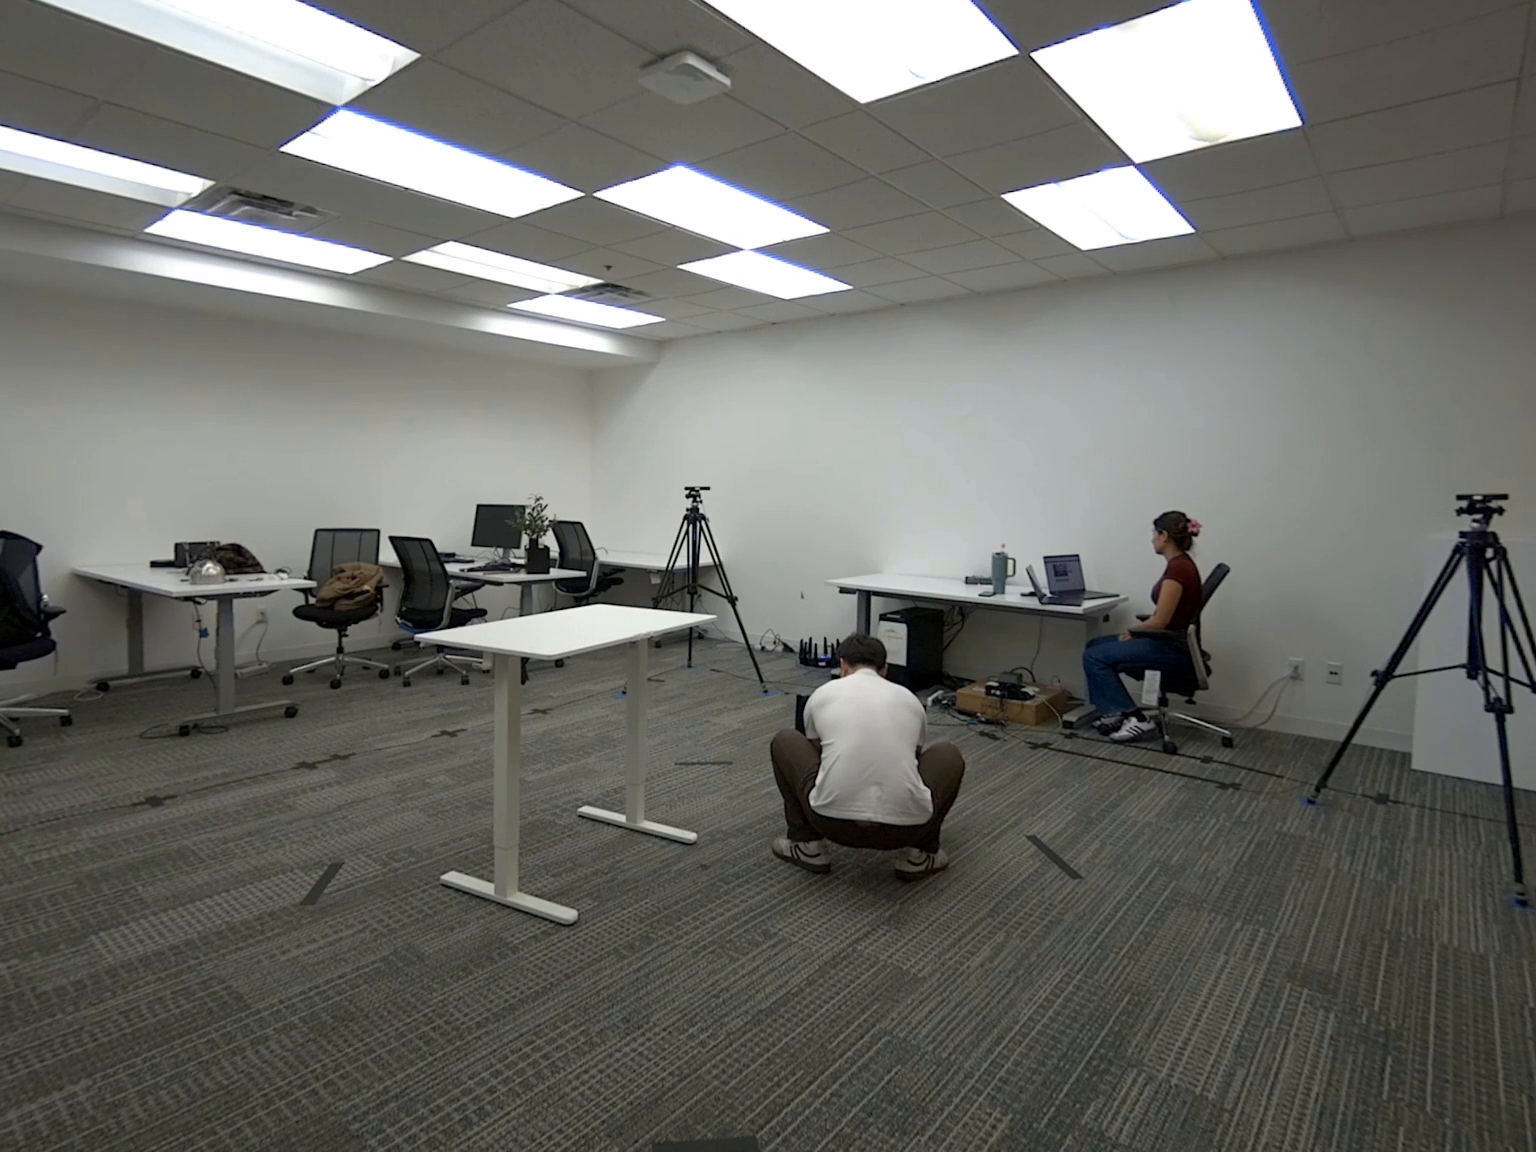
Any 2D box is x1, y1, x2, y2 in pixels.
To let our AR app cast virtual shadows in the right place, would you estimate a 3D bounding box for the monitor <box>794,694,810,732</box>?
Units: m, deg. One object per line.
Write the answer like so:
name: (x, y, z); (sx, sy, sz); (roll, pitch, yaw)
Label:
monitor: (0.370, 0.764, 3.567); (0.542, 0.520, 0.187); (4, 4, 4)
